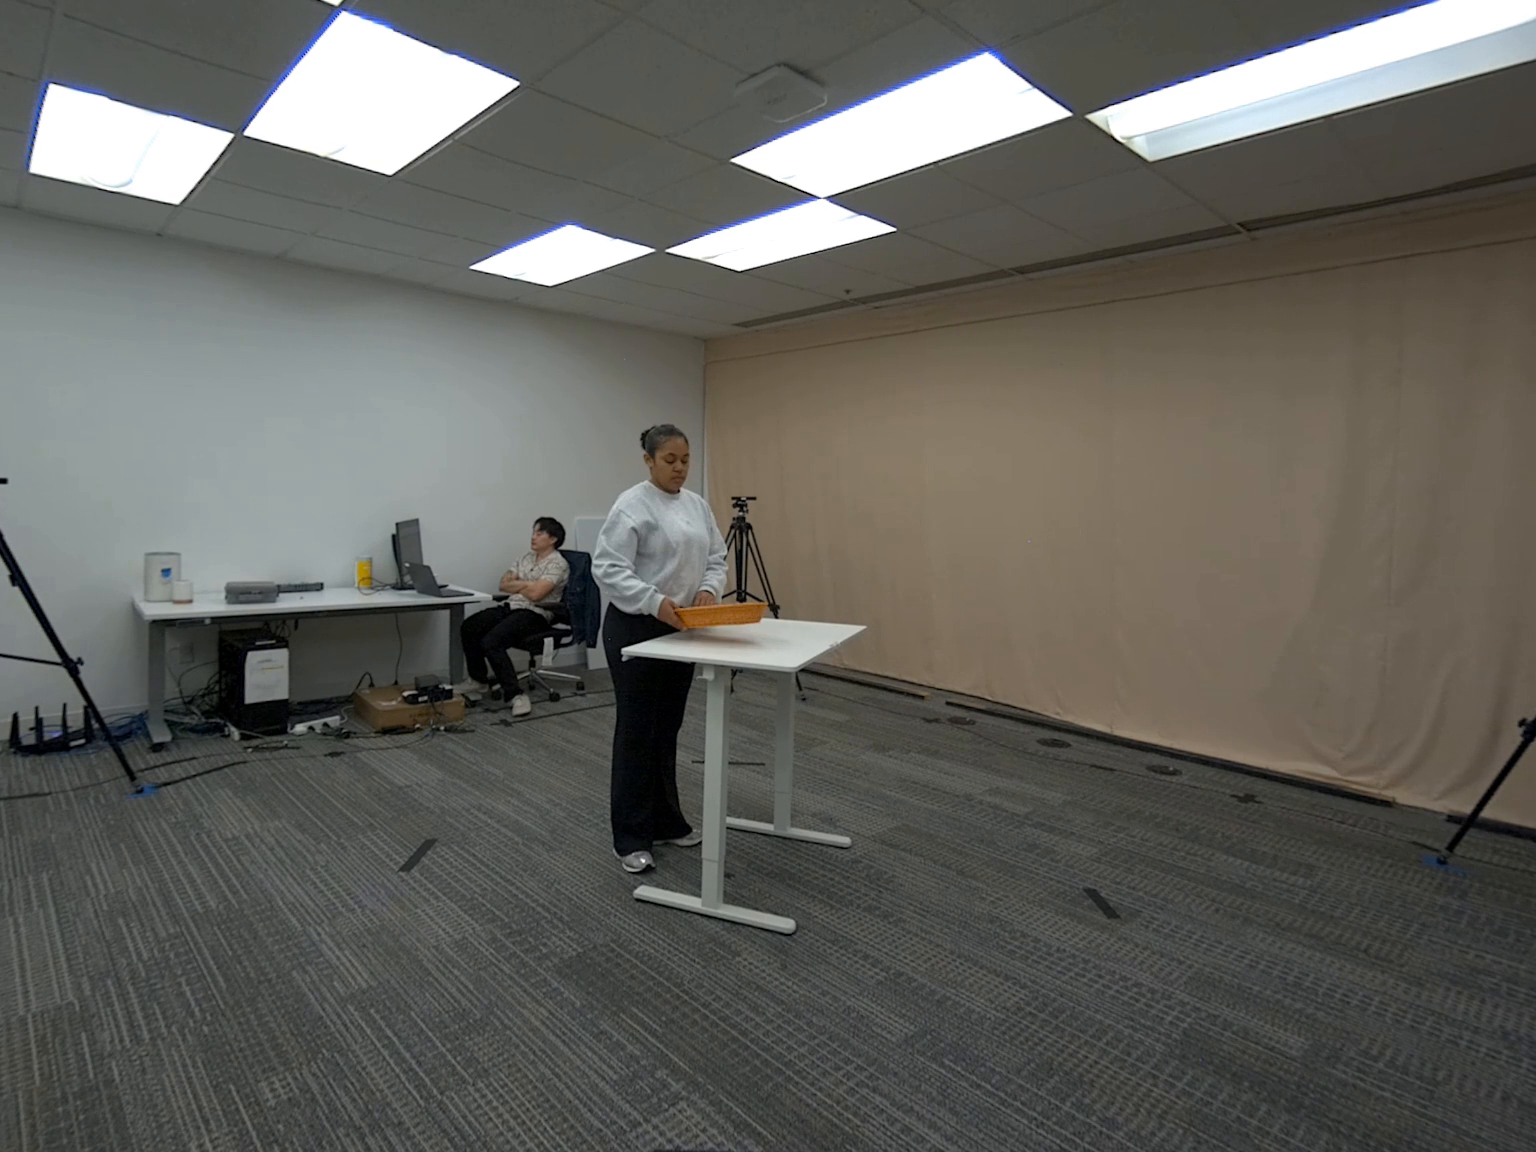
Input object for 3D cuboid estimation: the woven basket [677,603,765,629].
[{"bbox_3d":[-0.189,0.155,2.999,0.356,0.073,0.247,-4,-1,27],"label":"woven basket"}]
